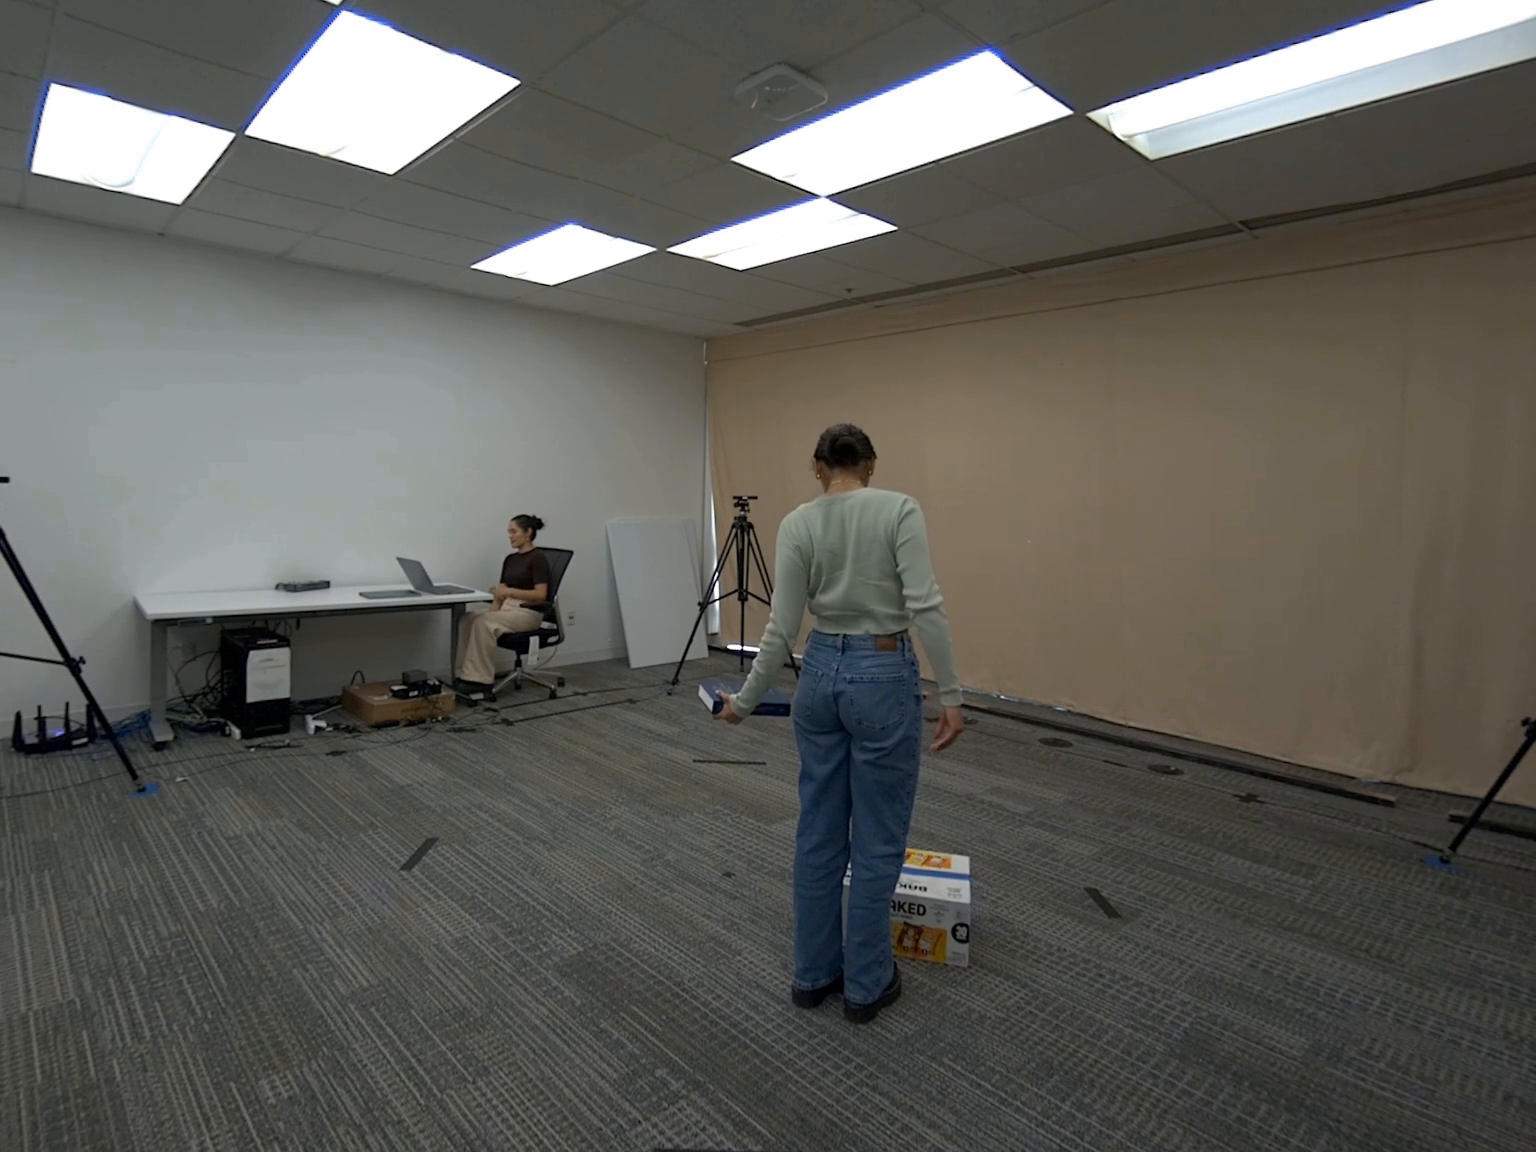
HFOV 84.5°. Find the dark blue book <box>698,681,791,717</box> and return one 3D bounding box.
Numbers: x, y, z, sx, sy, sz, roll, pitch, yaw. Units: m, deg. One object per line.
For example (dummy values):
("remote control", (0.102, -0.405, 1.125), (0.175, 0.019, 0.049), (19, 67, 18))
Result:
("dark blue book", (-0.072, 0.371, 2.498), (0.241, 0.045, 0.167), (6, 9, -21))
